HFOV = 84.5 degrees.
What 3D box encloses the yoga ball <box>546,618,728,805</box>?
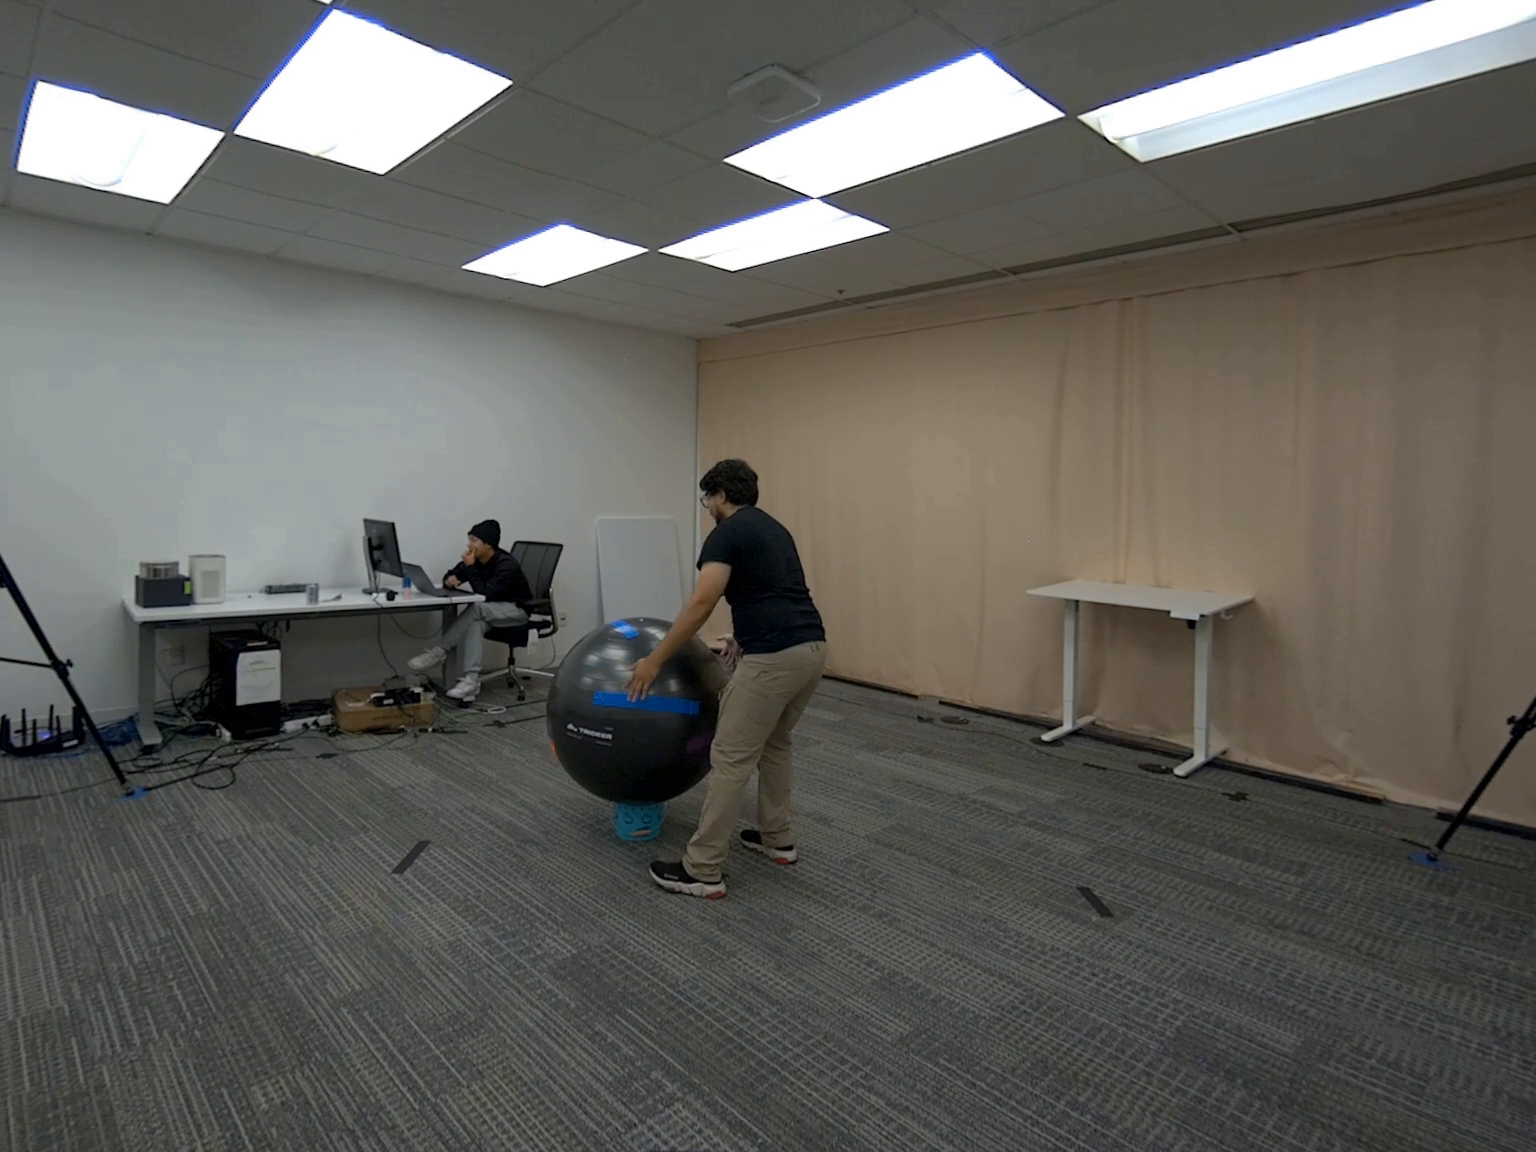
[{"bbox_3d":[-0.541,0.553,3.474,0.757,0.756,0.761,1,4,-1],"label":"yoga ball"}]
